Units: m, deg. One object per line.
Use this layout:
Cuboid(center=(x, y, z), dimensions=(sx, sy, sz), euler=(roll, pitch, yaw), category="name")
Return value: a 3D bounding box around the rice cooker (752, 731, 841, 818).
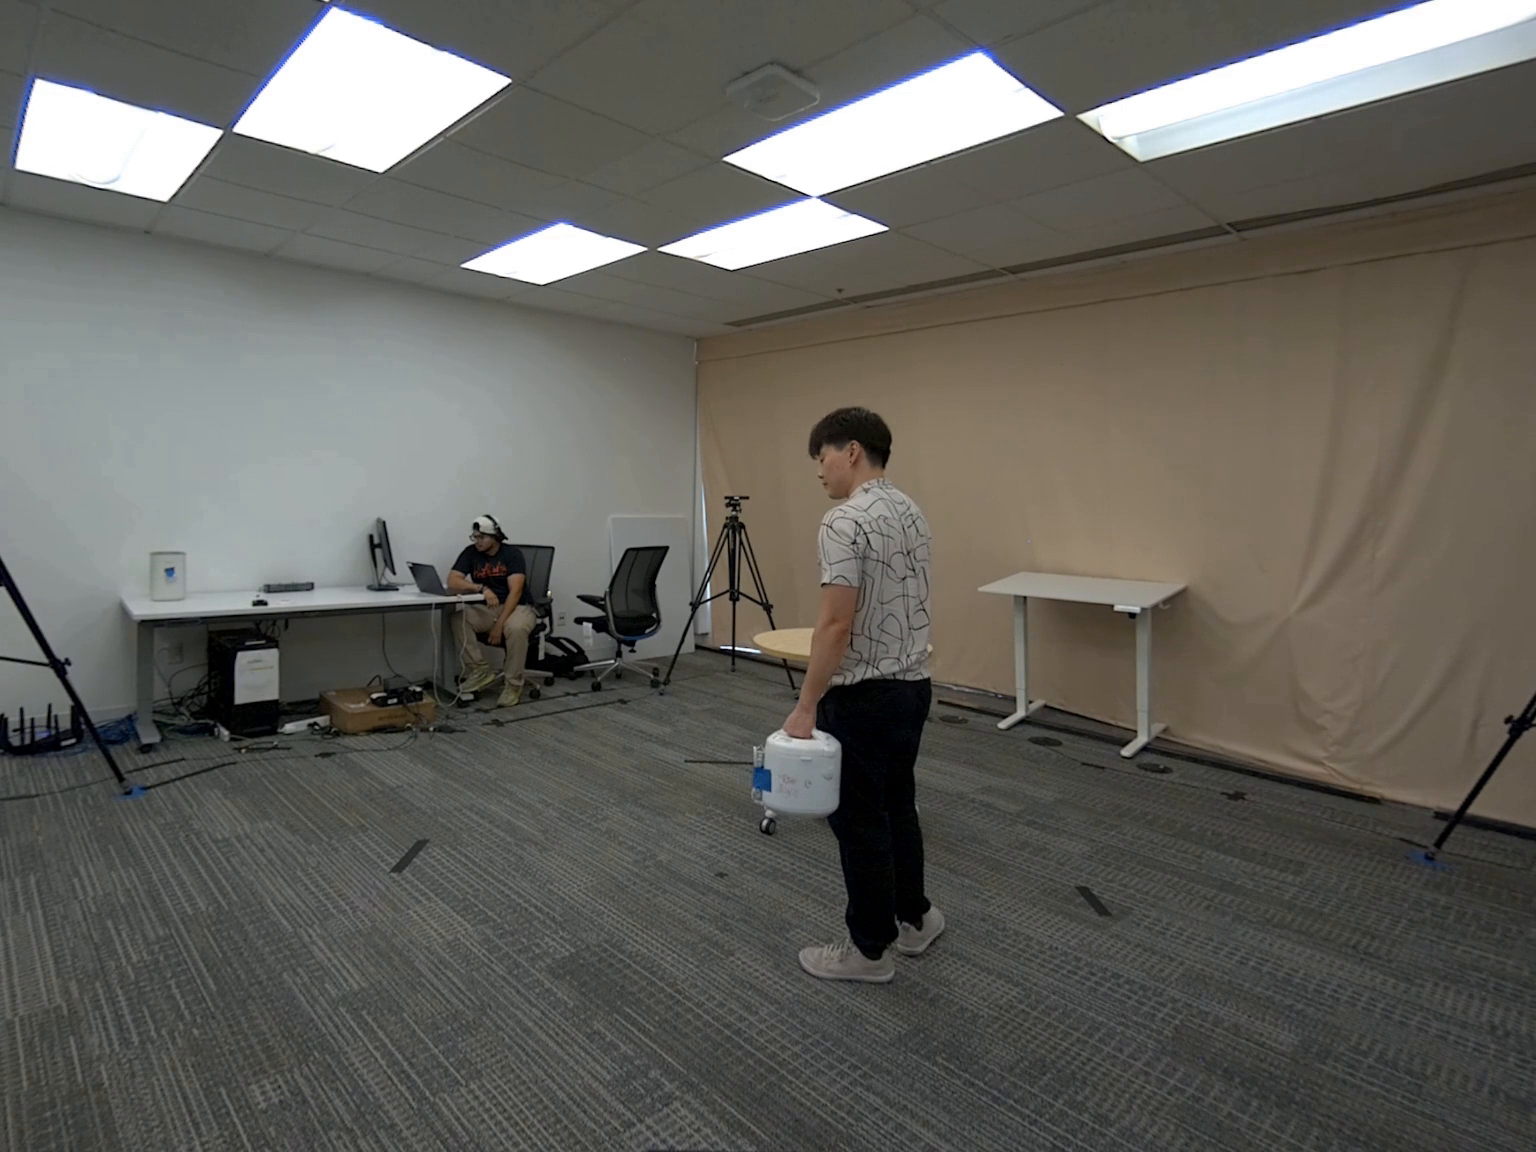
Cuboid(center=(0.085, 0.519, 2.288), dimensions=(0.212, 0.233, 0.226), euler=(4, 0, -40), category="rice cooker")
